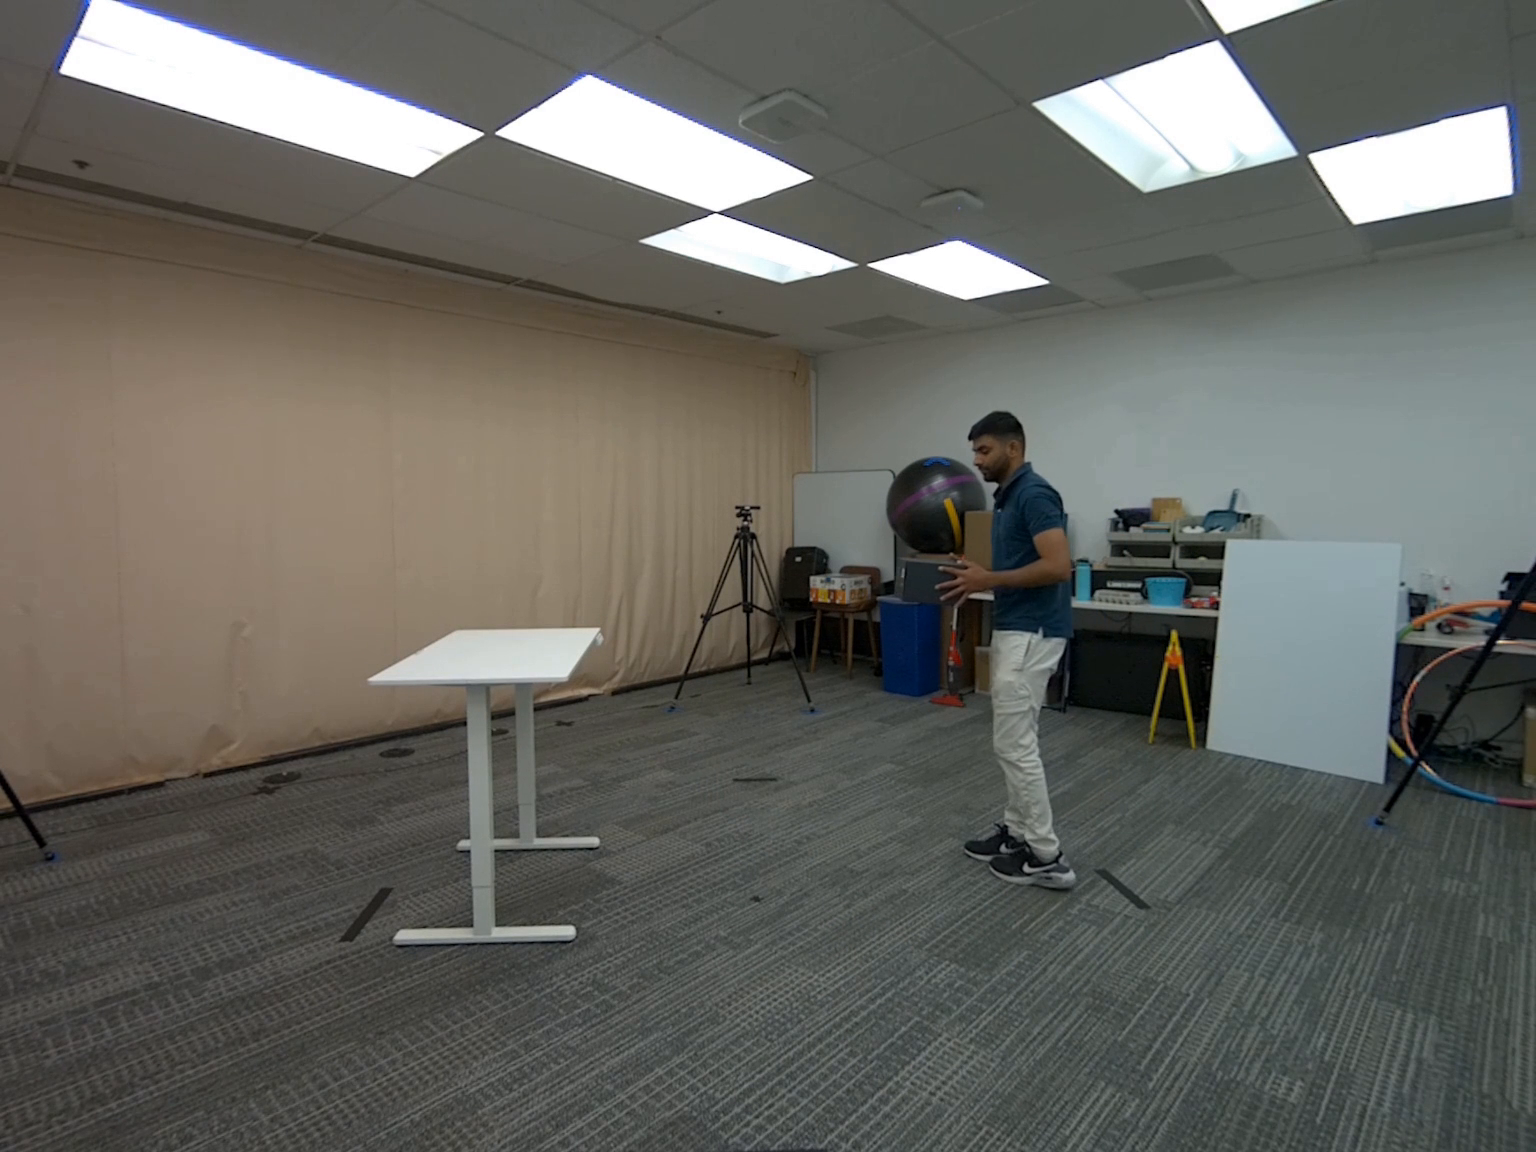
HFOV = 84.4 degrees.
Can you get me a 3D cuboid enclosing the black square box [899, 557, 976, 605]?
[{"bbox_3d":[0.645,0.015,3.258,0.228,0.156,0.217,3,3,-2],"label":"black square box"}]
